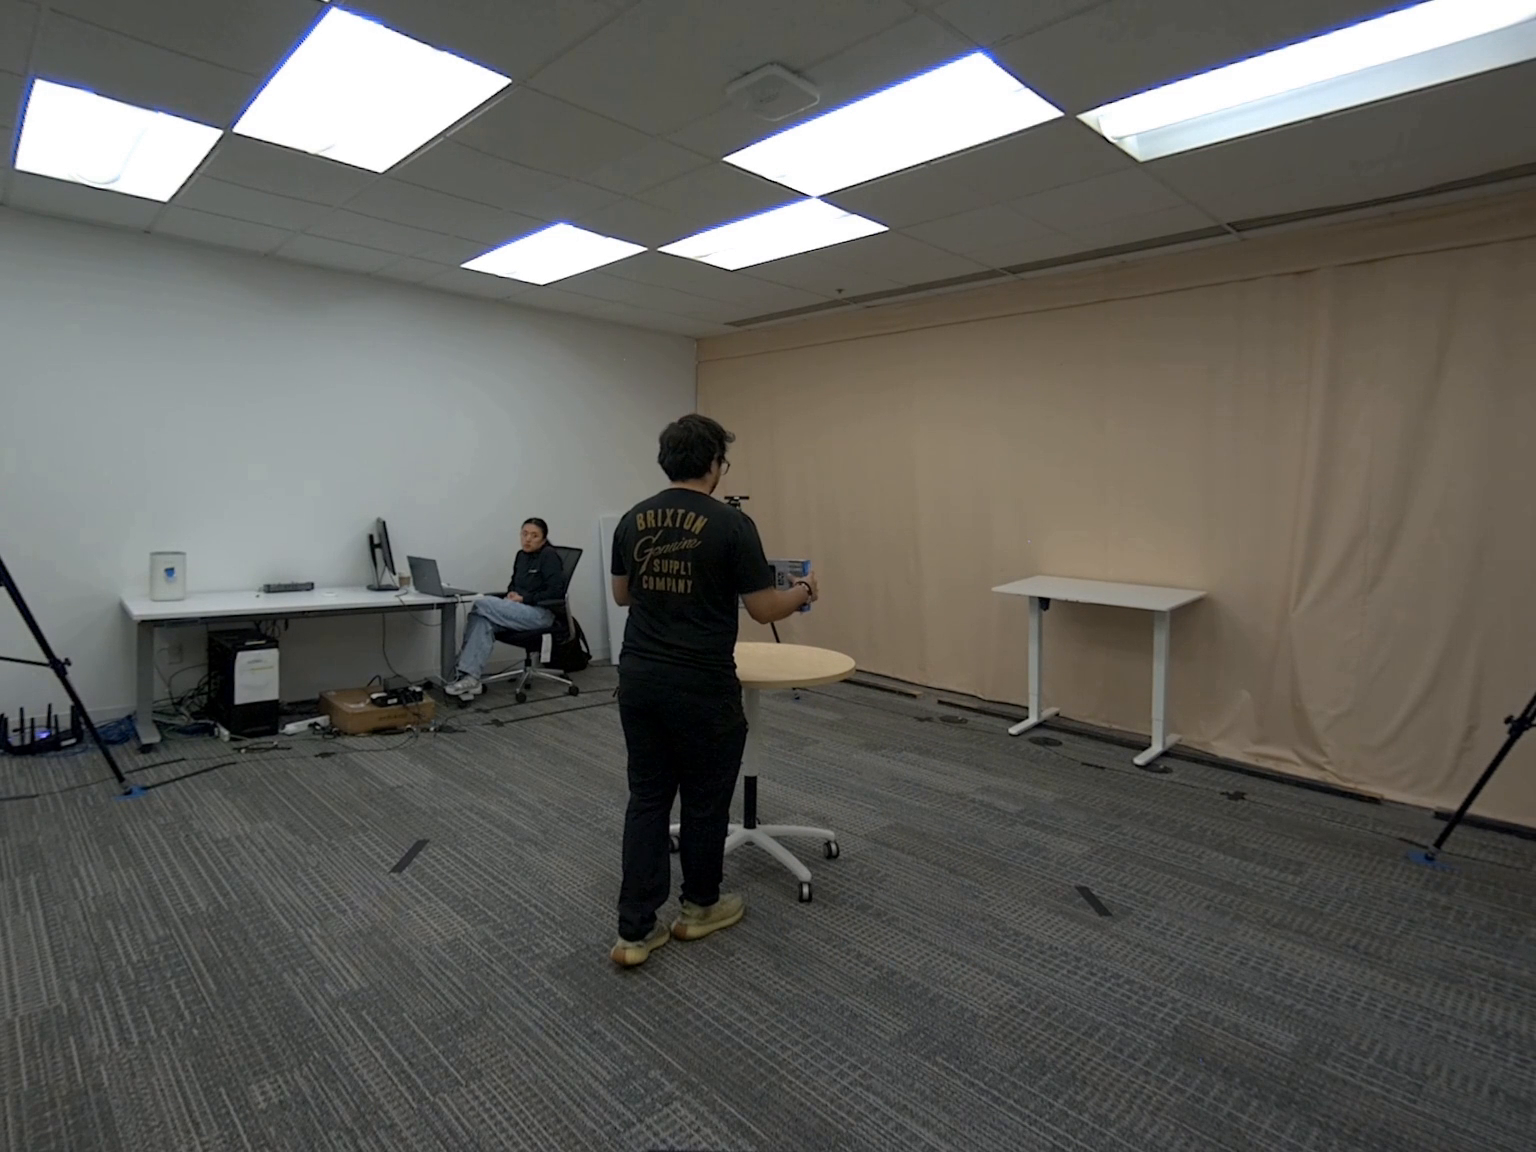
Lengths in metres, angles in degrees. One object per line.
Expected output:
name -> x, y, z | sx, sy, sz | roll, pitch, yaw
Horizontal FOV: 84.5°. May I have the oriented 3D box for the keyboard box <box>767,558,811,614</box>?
keyboard box -> -0.067, 0.032, 2.914 | 0.445, 0.175, 0.058 | 2, 4, 27
